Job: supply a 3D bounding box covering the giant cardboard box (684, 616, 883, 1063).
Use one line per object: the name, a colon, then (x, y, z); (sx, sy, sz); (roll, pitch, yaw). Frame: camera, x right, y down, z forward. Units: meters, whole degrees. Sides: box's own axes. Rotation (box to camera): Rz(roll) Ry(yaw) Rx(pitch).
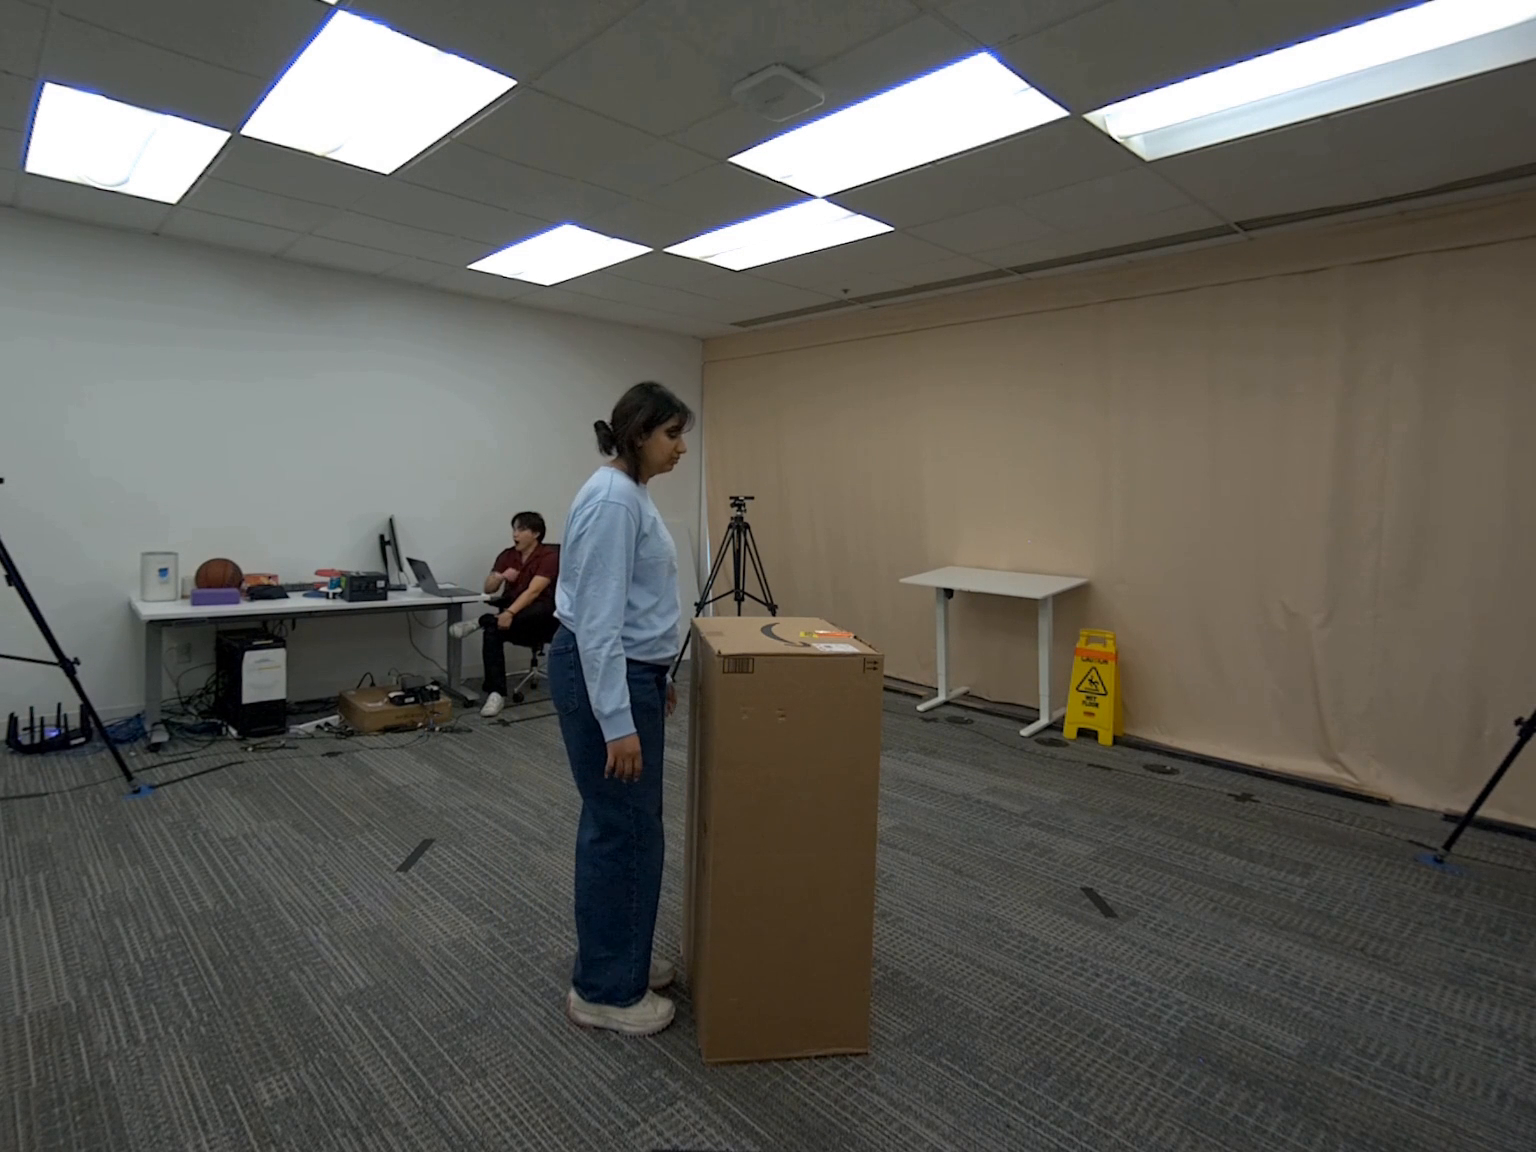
giant cardboard box: (0.012, 0.672, 2.339); (0.422, 1.023, 0.584); (1, 4, -12)
